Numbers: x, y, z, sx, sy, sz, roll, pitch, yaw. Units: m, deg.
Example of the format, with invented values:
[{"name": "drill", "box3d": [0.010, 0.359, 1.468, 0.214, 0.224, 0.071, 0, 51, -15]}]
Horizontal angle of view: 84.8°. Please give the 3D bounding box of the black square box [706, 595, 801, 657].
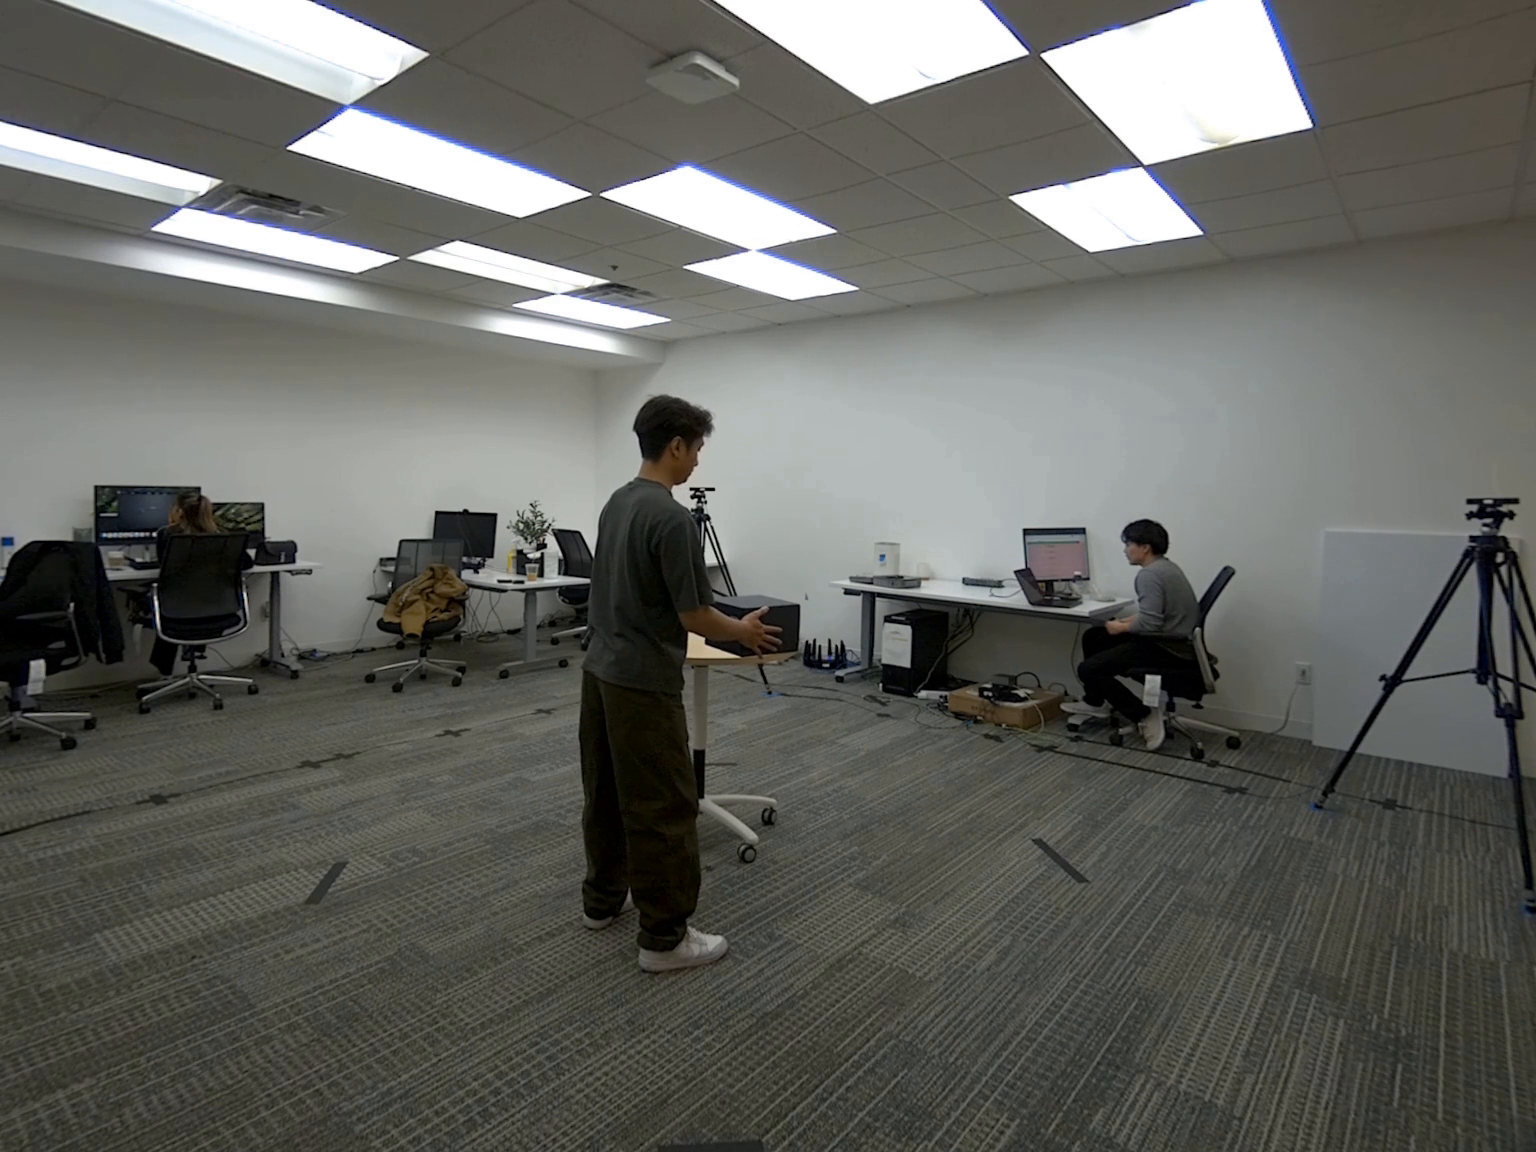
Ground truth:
[{"name": "black square box", "box3d": [-0.059, 0.159, 2.769, 0.221, 0.155, 0.224, -3, 8, -36]}]
